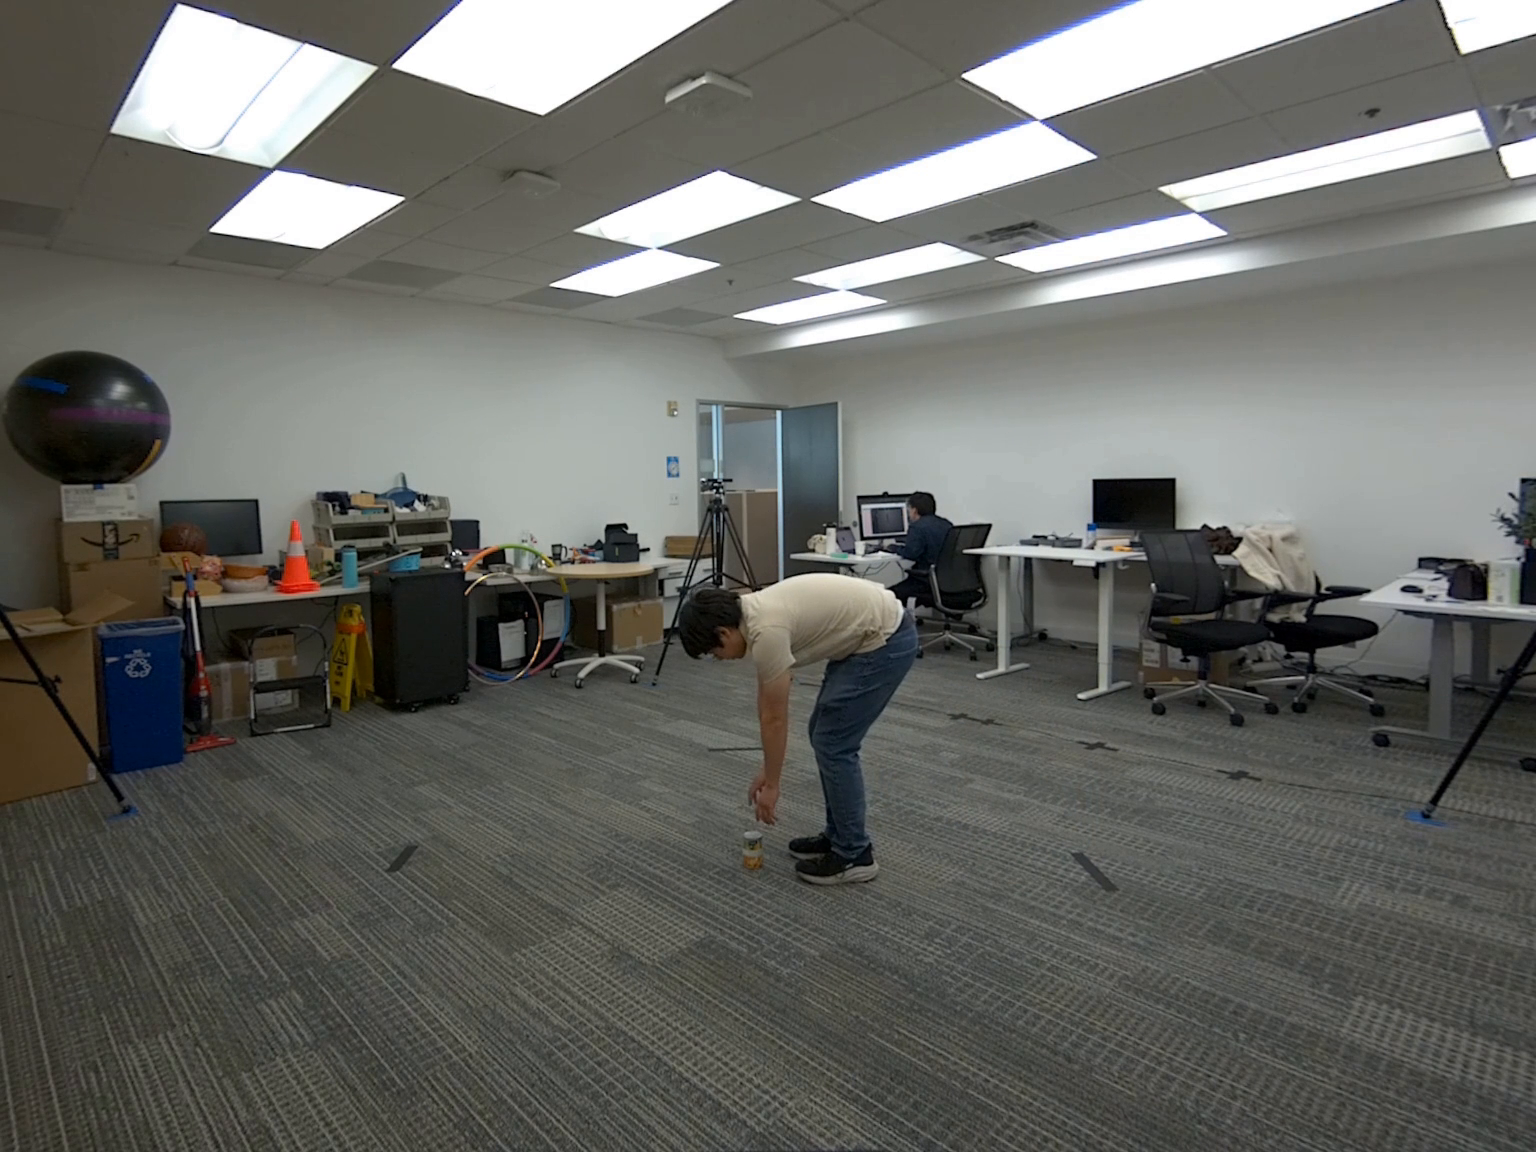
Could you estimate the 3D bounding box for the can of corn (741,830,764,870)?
[{"bbox_3d":[-0.055,0.999,3.097,0.074,0.111,0.074,0,3,-2],"label":"can of corn"}]
